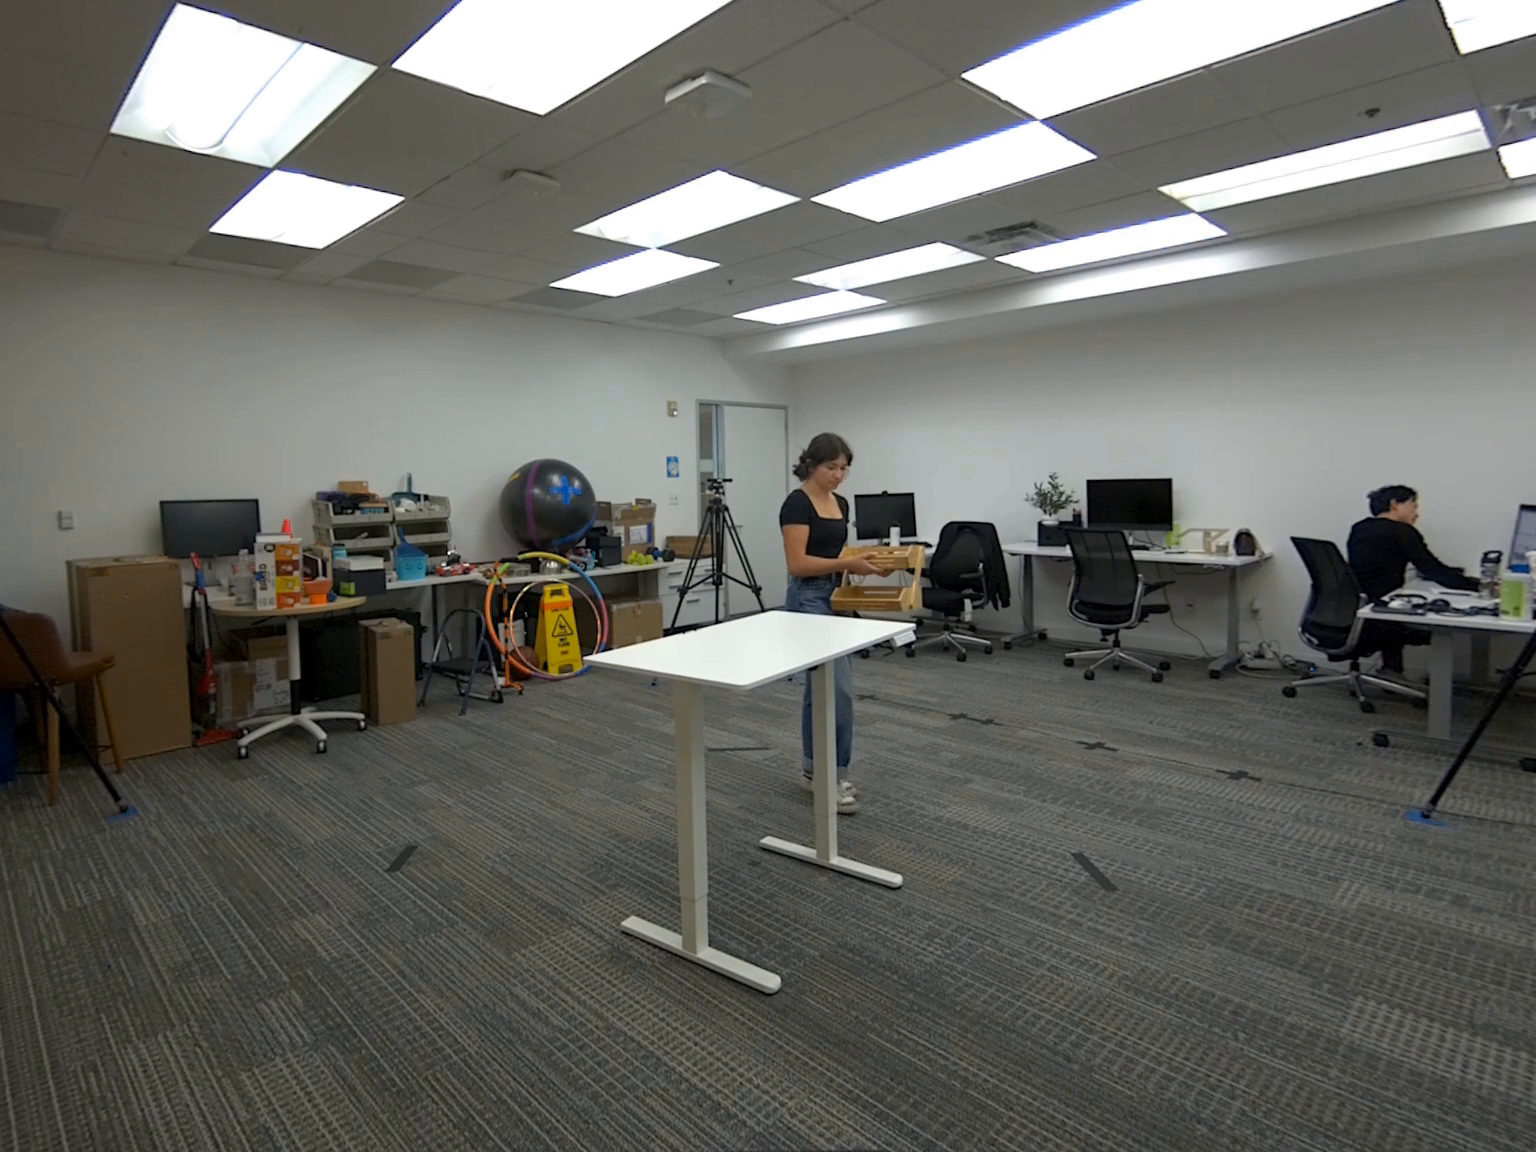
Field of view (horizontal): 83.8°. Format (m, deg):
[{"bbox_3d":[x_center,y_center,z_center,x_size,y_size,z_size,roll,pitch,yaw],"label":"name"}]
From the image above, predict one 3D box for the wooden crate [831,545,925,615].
[{"bbox_3d":[0.463,0.006,3.520,0.332,0.274,0.294,-1,-1,30],"label":"wooden crate"}]
